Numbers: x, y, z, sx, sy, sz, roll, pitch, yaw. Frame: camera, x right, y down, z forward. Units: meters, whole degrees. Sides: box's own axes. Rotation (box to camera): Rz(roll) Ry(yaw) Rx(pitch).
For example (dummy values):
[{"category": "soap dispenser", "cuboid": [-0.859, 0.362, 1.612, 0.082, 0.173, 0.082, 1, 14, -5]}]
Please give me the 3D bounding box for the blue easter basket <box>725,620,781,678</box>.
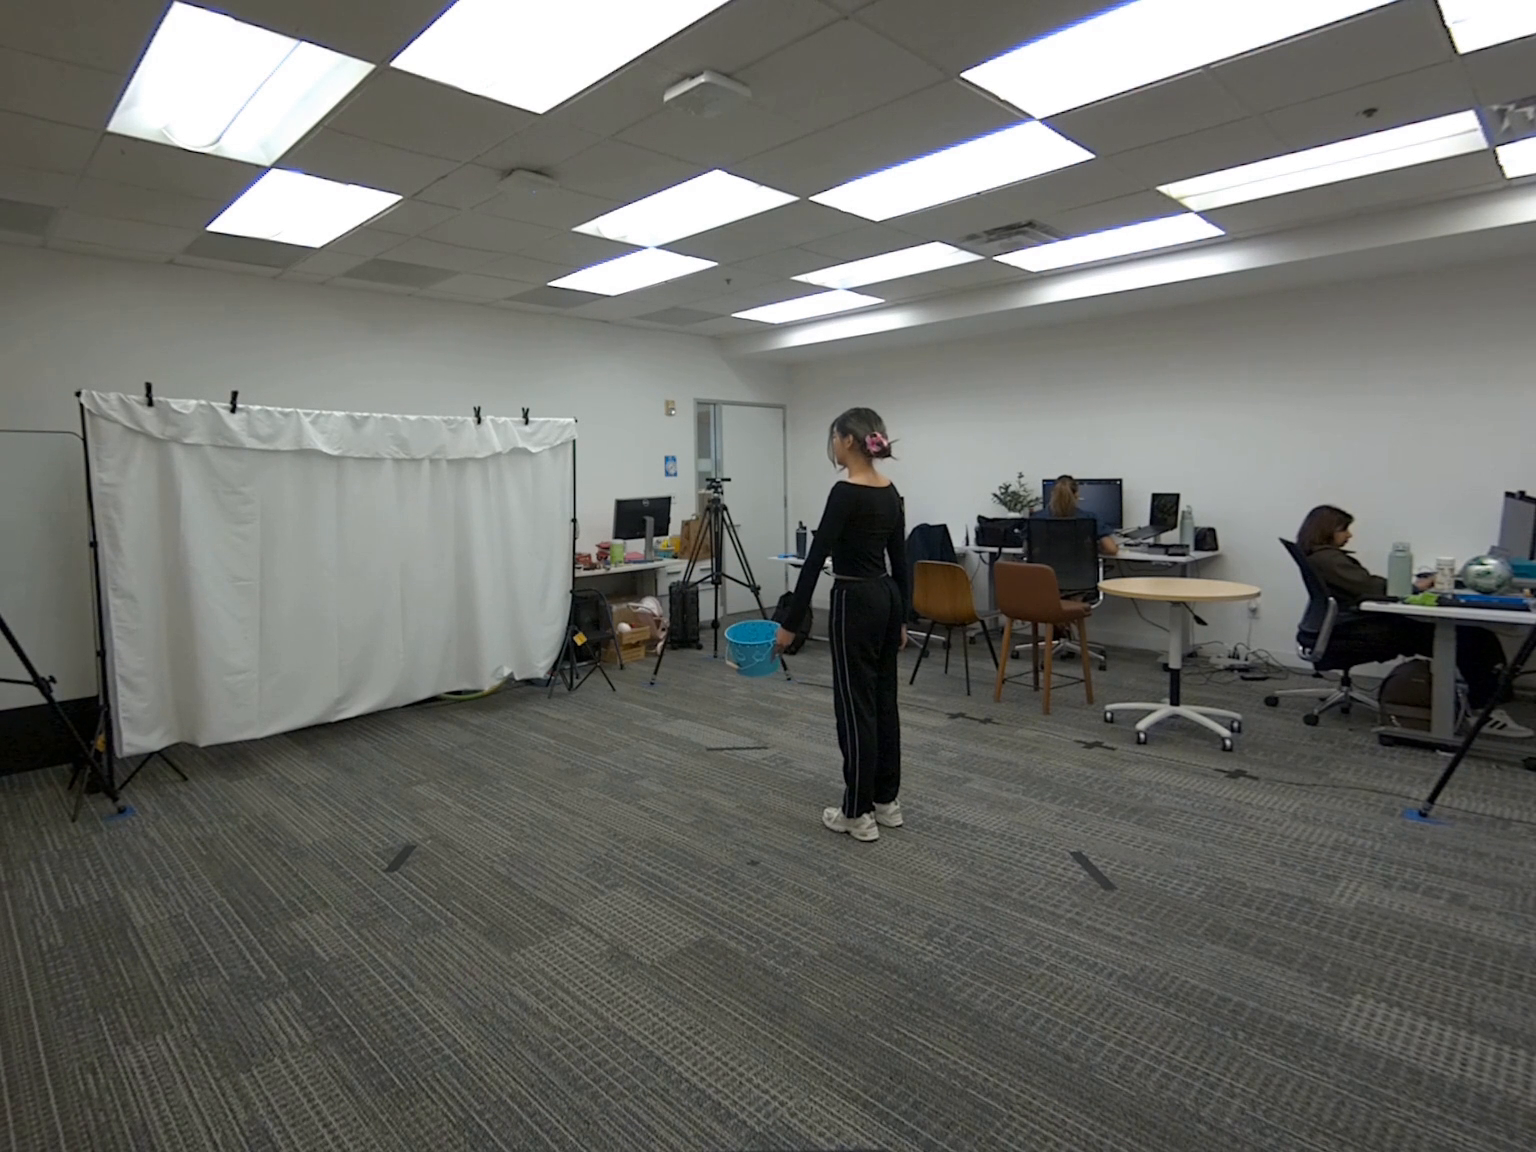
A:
[{"category": "blue easter basket", "cuboid": [-0.048, 0.282, 3.328, 0.243, 0.153, 0.247, -4, 17, -1]}]
